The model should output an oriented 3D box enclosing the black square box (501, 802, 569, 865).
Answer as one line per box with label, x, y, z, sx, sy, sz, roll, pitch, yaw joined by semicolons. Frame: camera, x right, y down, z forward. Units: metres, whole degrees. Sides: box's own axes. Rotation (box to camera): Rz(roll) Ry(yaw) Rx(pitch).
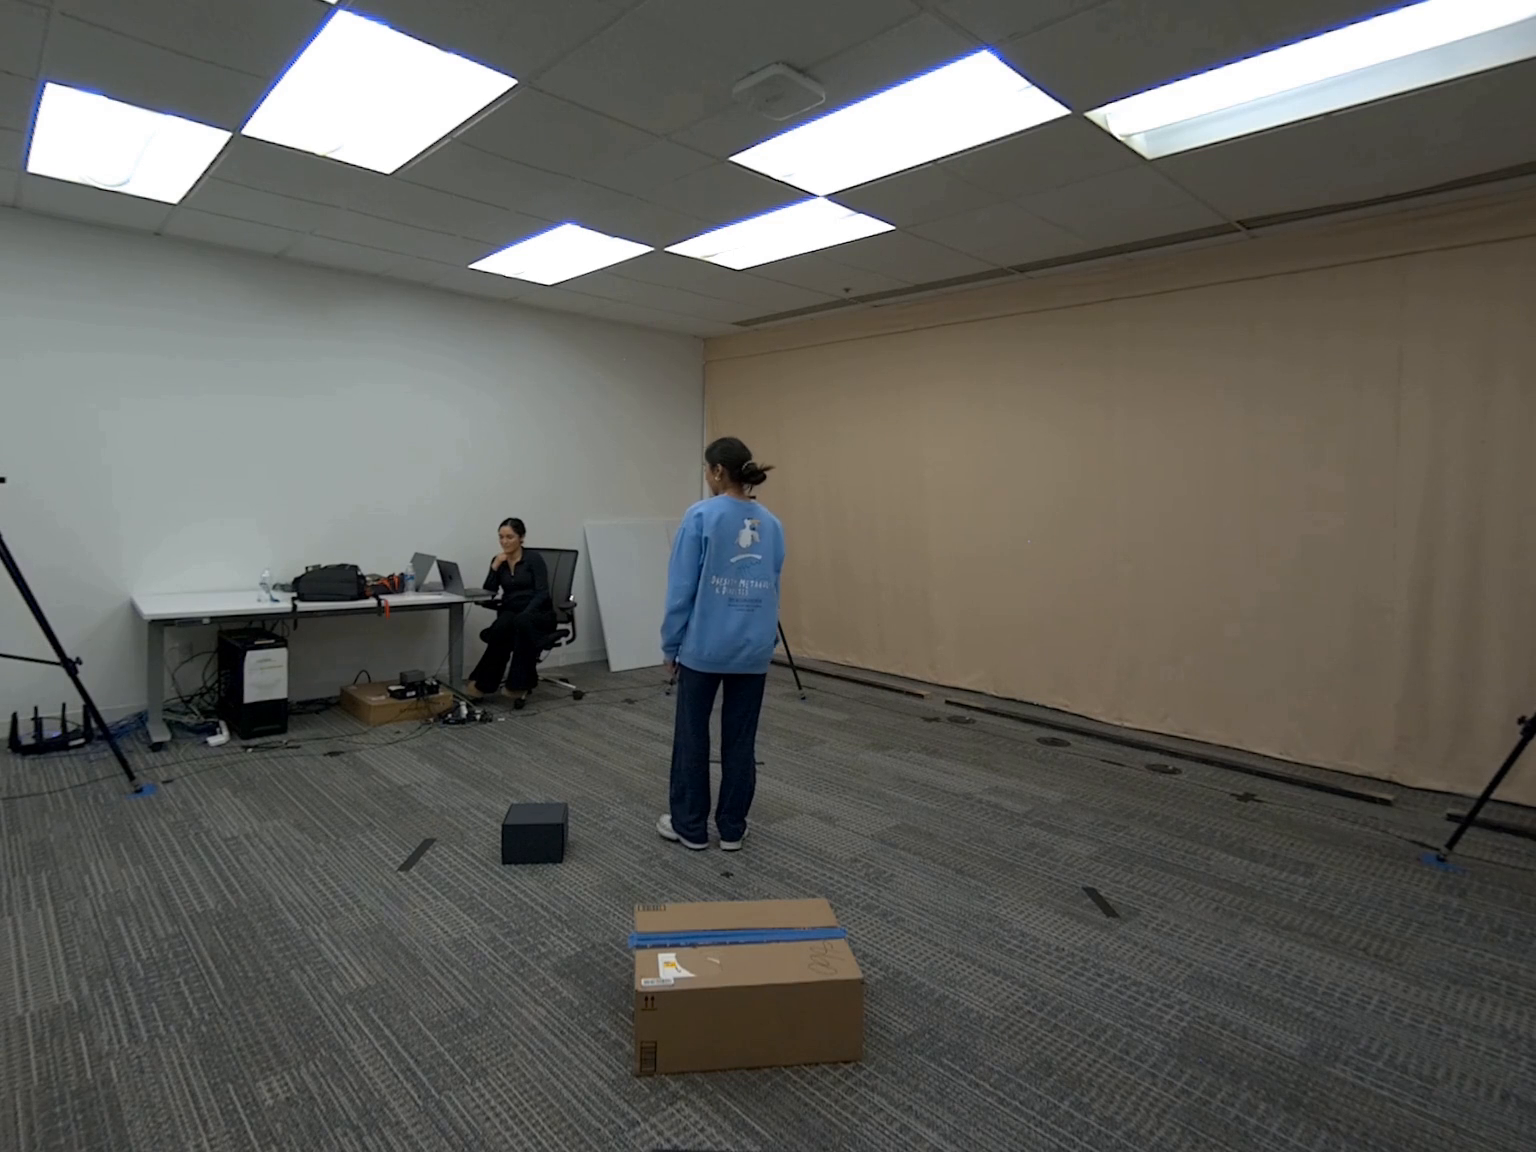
black square box;-0.904;0.986;3.253;0.226;0.155;0.219;1;5;-8
